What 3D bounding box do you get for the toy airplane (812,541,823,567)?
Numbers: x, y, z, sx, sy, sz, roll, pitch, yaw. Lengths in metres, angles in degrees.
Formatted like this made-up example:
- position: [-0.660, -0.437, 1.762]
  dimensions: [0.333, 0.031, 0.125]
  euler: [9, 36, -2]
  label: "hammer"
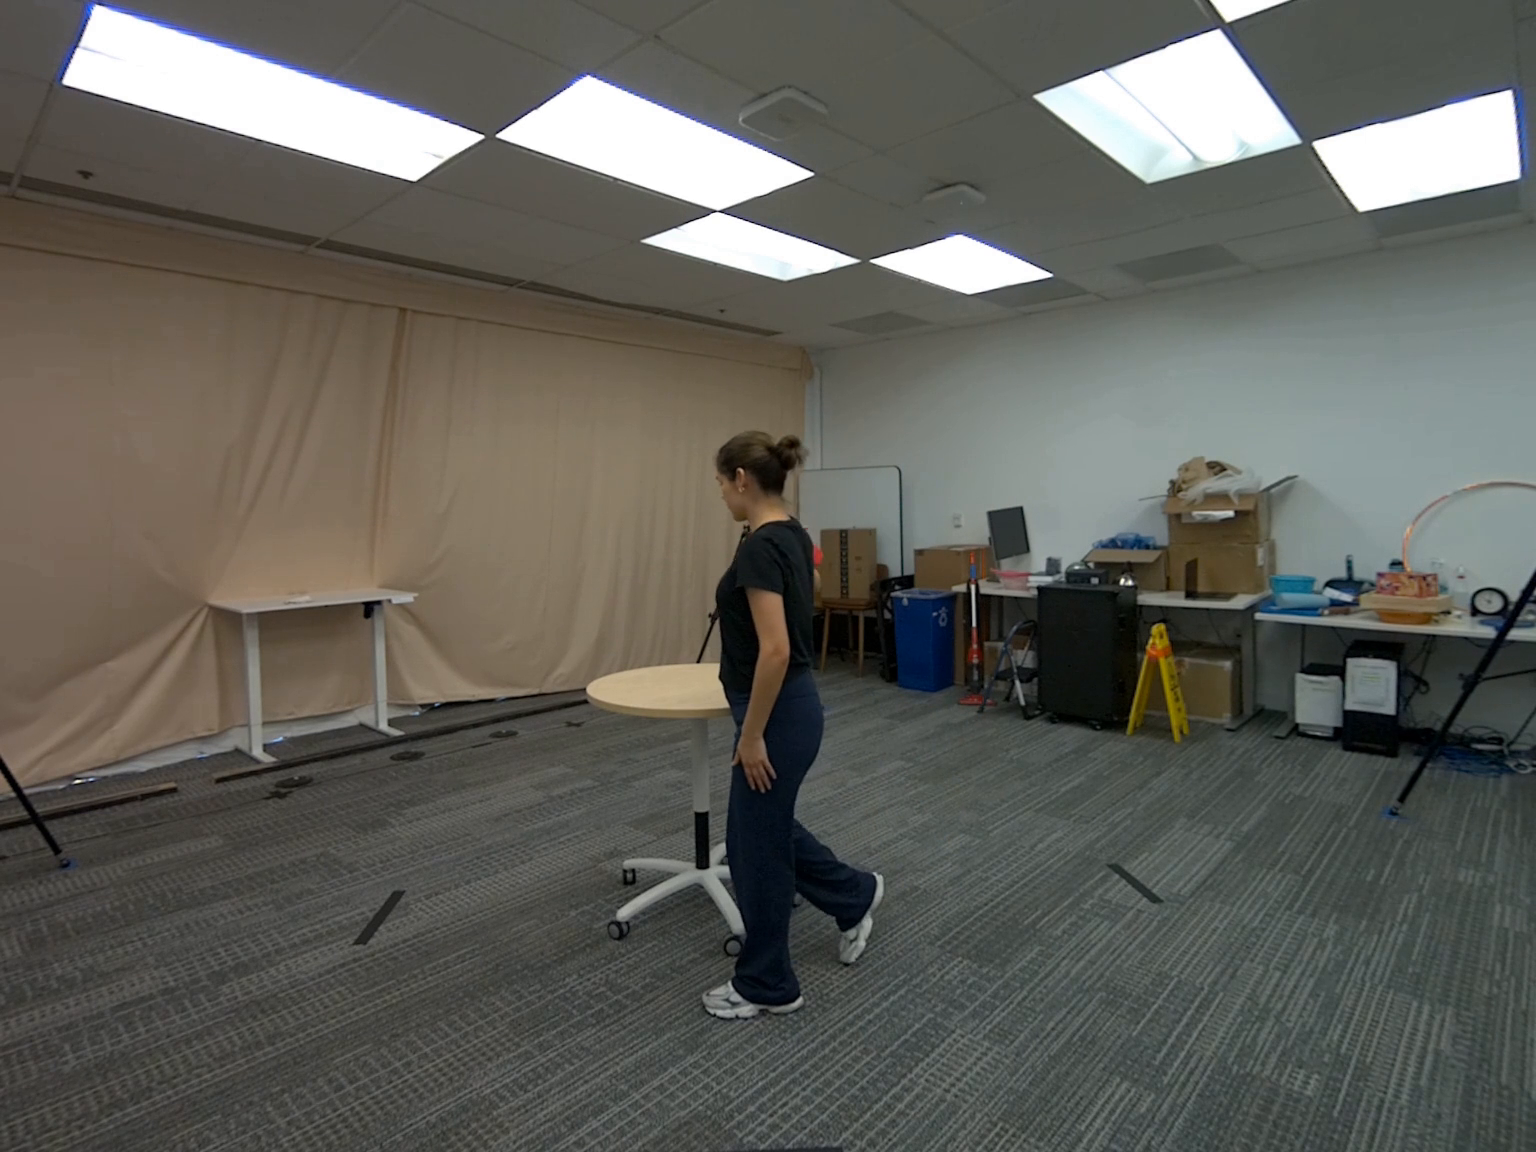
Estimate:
- position: [0.080, -0.061, 2.997]
  dimensions: [0.244, 0.265, 0.157]
  euler: [16, -49, -25]
  label: "toy airplane"
